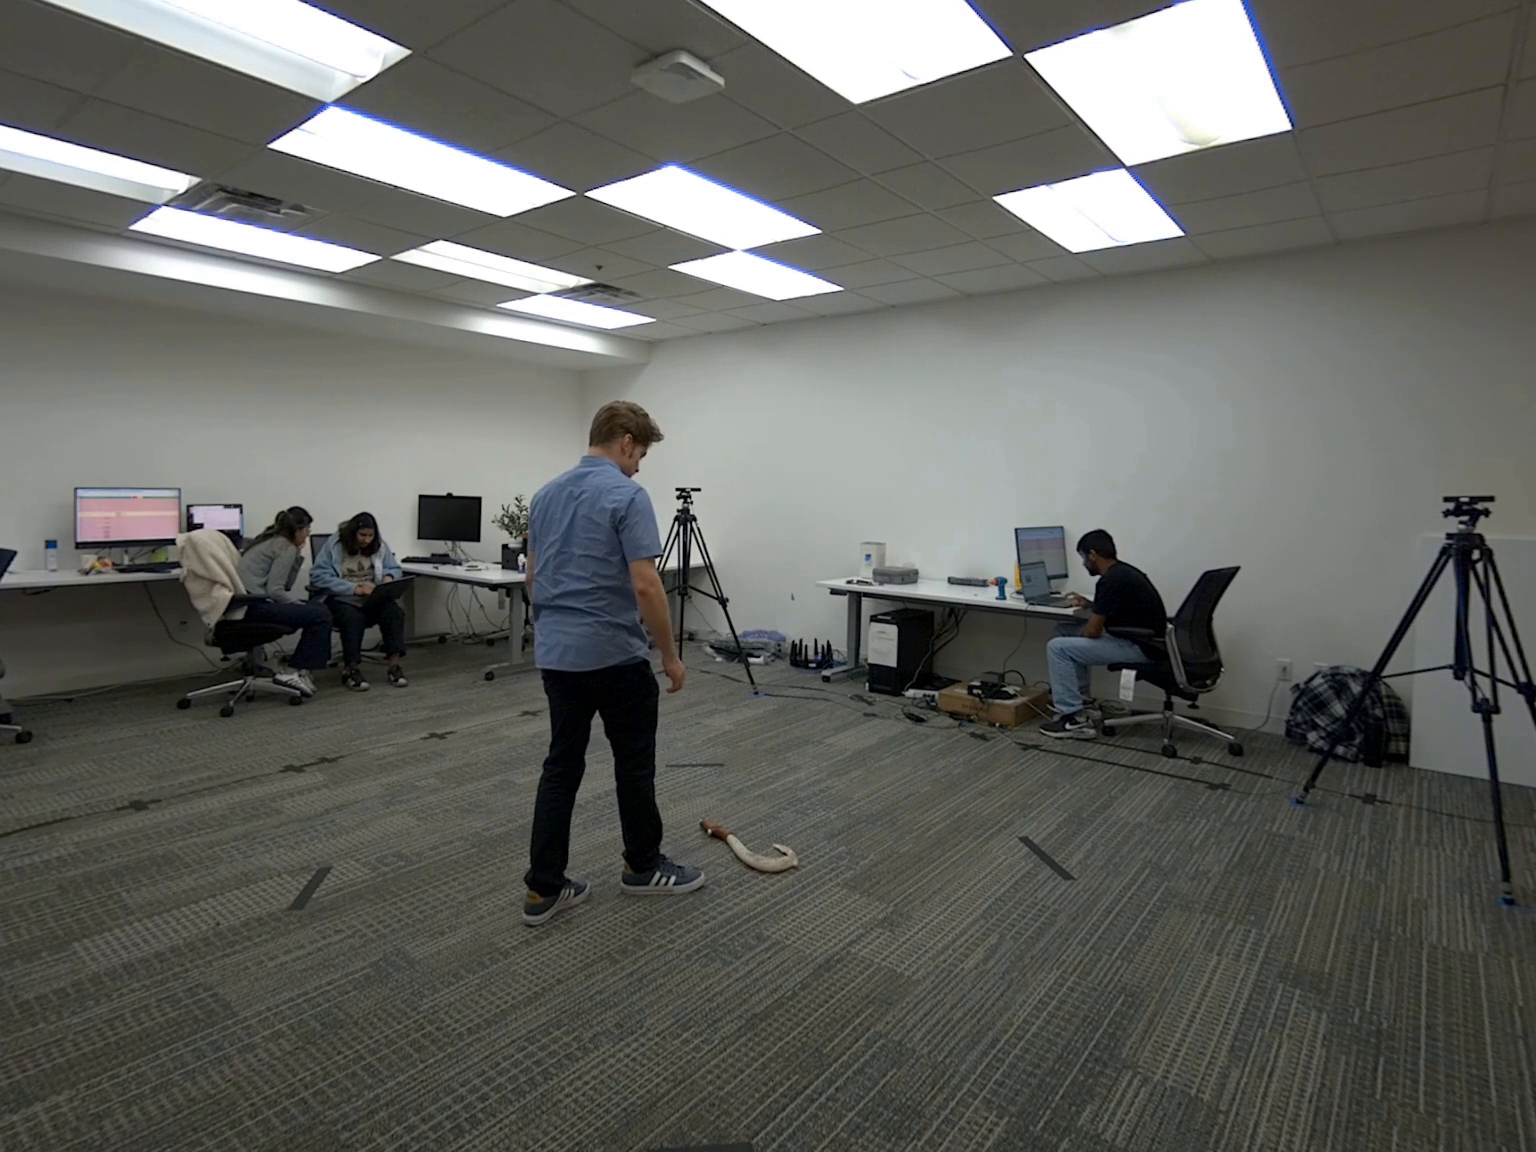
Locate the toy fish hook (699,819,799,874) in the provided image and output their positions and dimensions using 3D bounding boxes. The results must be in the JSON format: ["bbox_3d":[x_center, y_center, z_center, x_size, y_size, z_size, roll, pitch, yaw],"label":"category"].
[{"bbox_3d":[-0.087,1.038,3.313,0.217,0.048,0.524,7,2,-36],"label":"toy fish hook"}]
